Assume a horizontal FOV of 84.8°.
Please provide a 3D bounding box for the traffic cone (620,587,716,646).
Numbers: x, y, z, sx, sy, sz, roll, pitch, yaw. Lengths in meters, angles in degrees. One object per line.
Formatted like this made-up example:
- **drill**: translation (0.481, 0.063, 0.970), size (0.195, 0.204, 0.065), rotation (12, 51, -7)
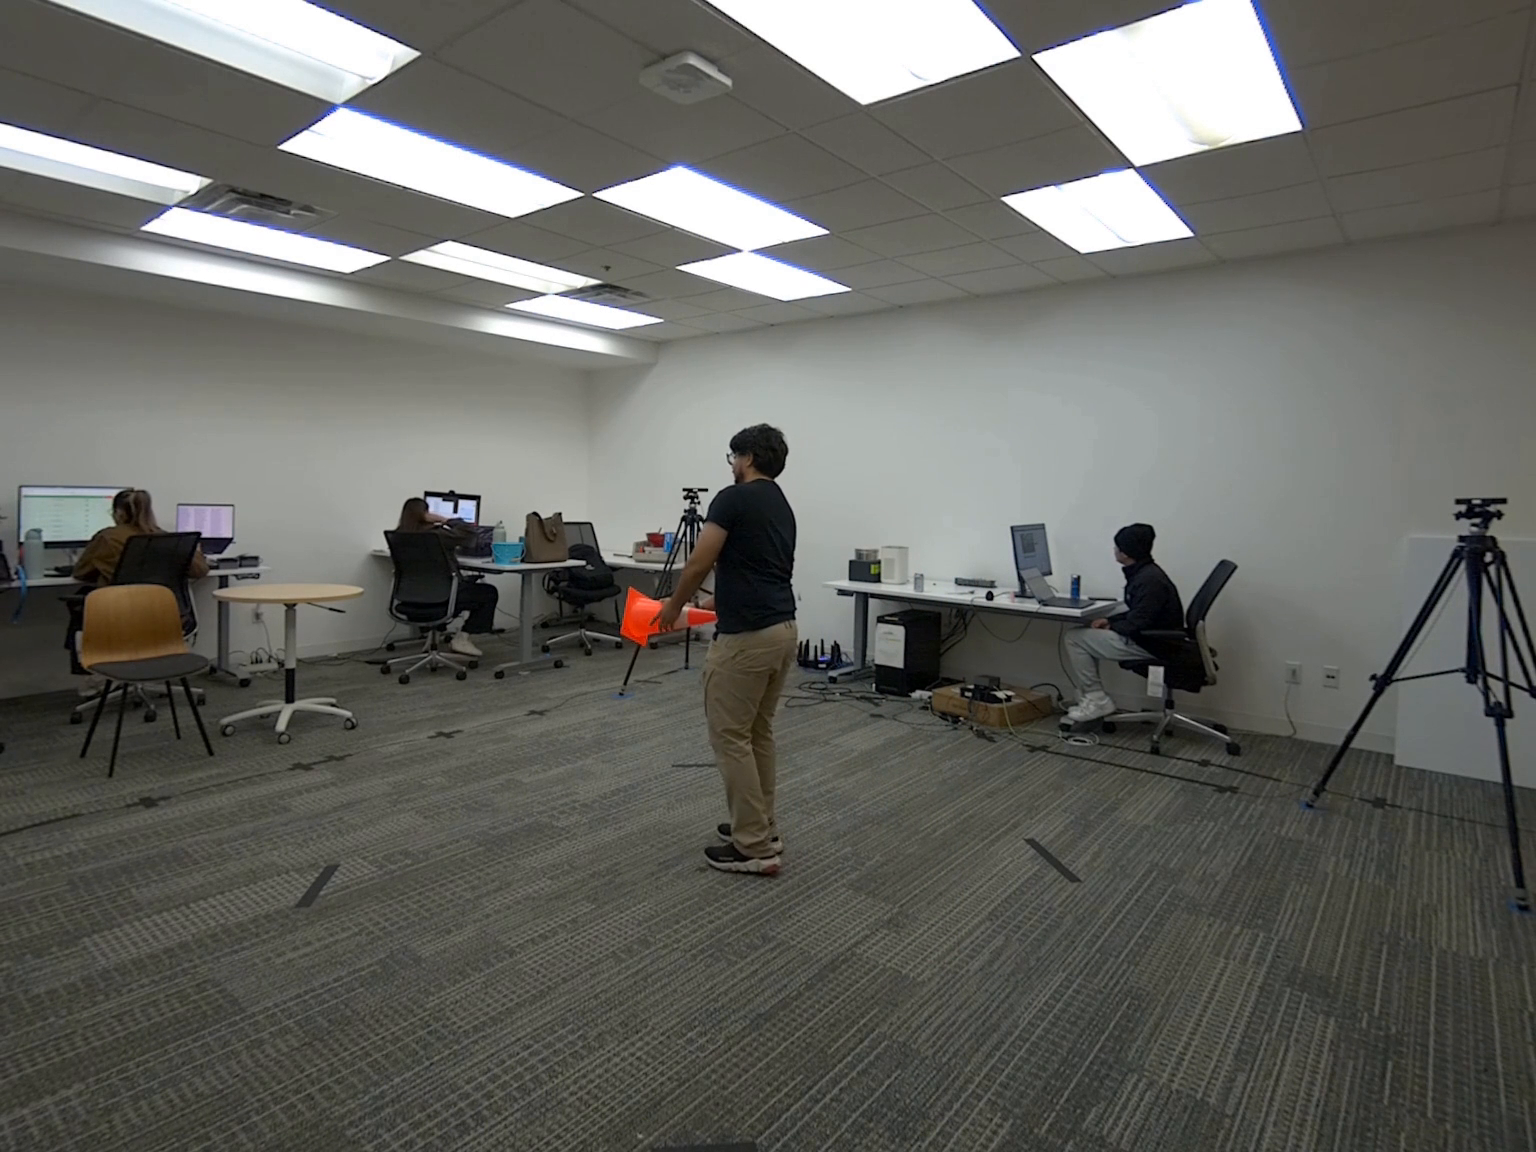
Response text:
- **traffic cone**: translation (-0.382, 0.154, 3.429), size (0.393, 0.206, 0.197), rotation (-1, -22, 25)
